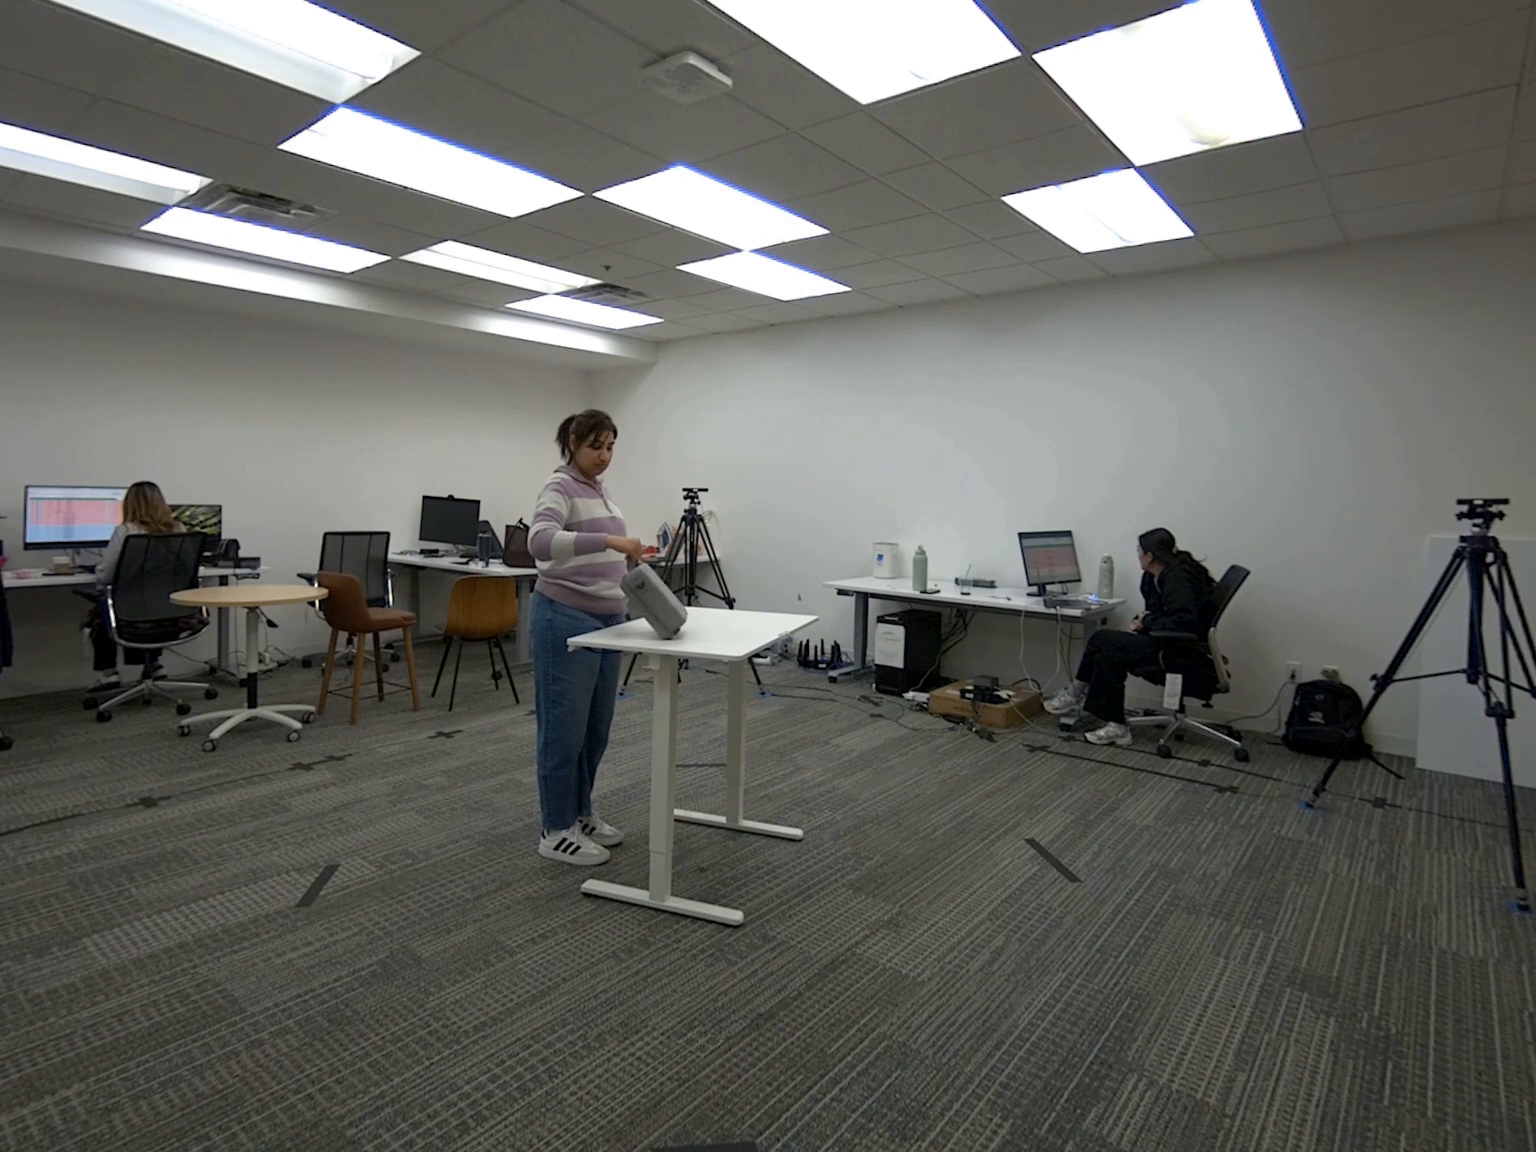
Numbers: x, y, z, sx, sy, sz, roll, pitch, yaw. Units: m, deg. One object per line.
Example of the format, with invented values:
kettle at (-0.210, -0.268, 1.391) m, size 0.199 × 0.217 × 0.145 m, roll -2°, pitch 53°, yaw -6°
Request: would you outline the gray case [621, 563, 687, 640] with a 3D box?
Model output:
gray case at (-0.394, 0.077, 2.920) m, size 0.104 × 0.259 × 0.258 m, roll -35°, pitch 5°, yaw 1°
